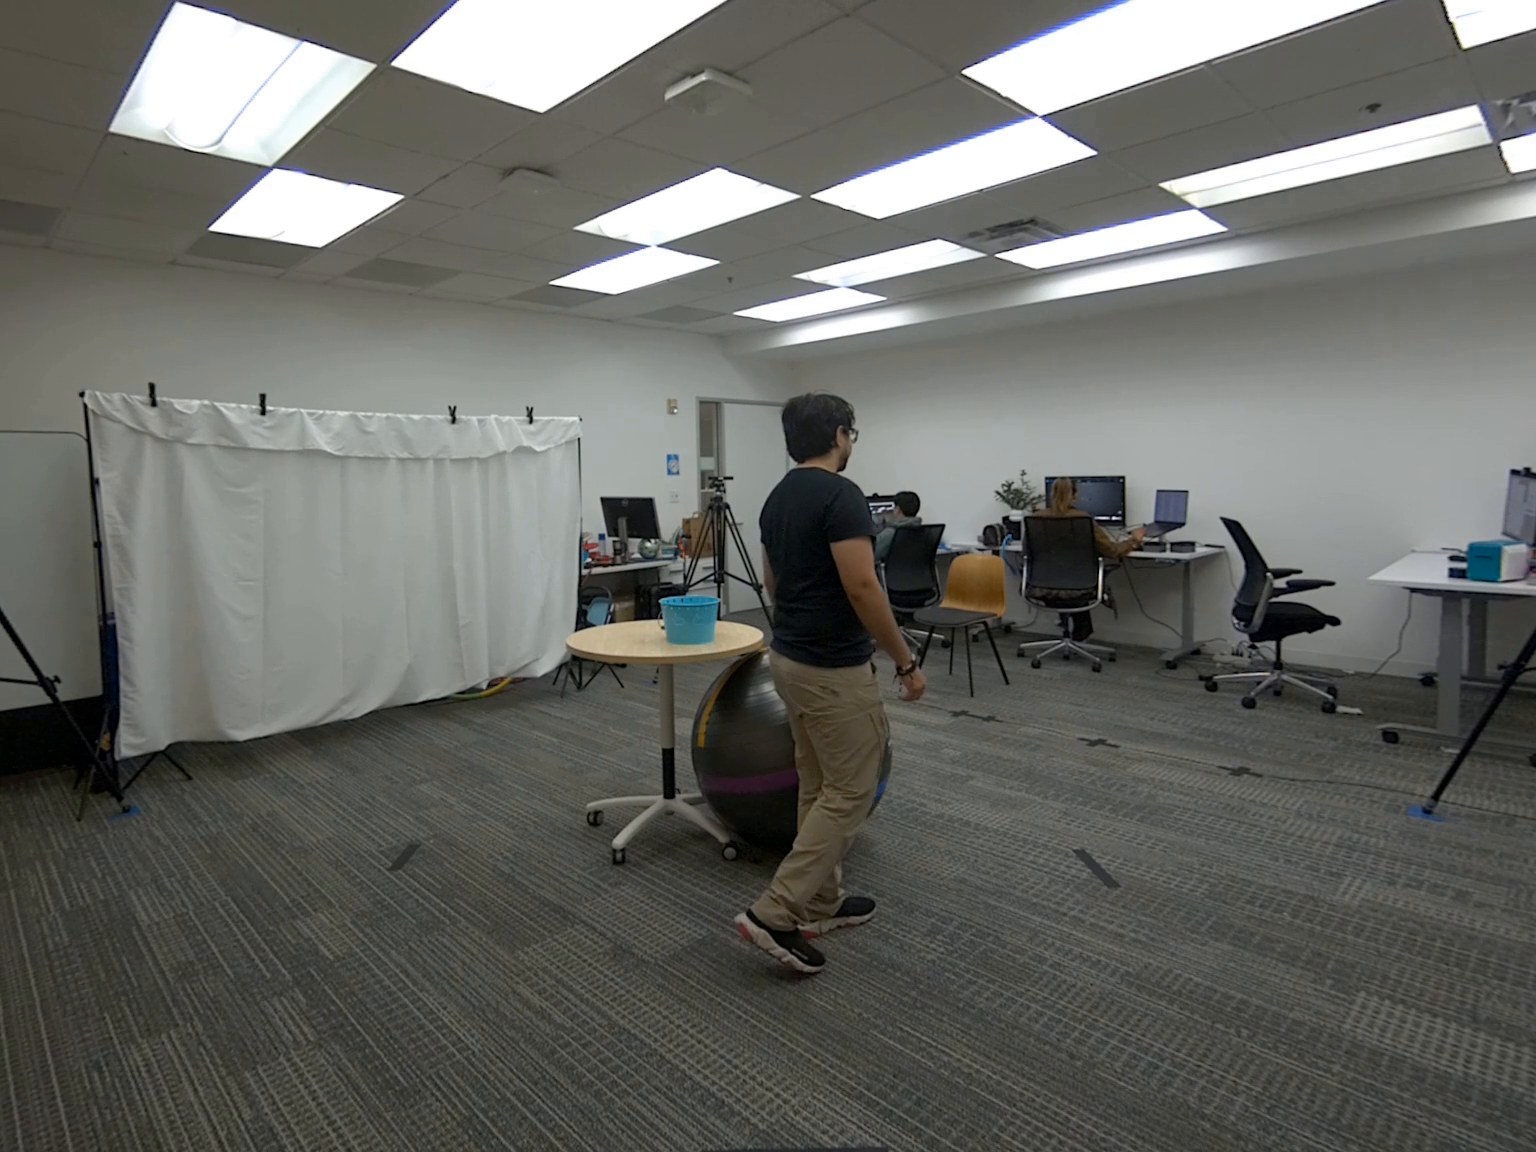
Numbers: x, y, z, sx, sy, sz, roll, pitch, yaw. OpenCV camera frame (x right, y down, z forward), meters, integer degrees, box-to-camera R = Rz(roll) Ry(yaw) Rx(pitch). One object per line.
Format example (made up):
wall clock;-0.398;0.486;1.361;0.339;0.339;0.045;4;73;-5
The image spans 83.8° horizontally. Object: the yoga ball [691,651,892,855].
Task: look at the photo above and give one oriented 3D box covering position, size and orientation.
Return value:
yoga ball;0.090;0.649;3.237;0.757;0.755;0.762;-1;5;-2
